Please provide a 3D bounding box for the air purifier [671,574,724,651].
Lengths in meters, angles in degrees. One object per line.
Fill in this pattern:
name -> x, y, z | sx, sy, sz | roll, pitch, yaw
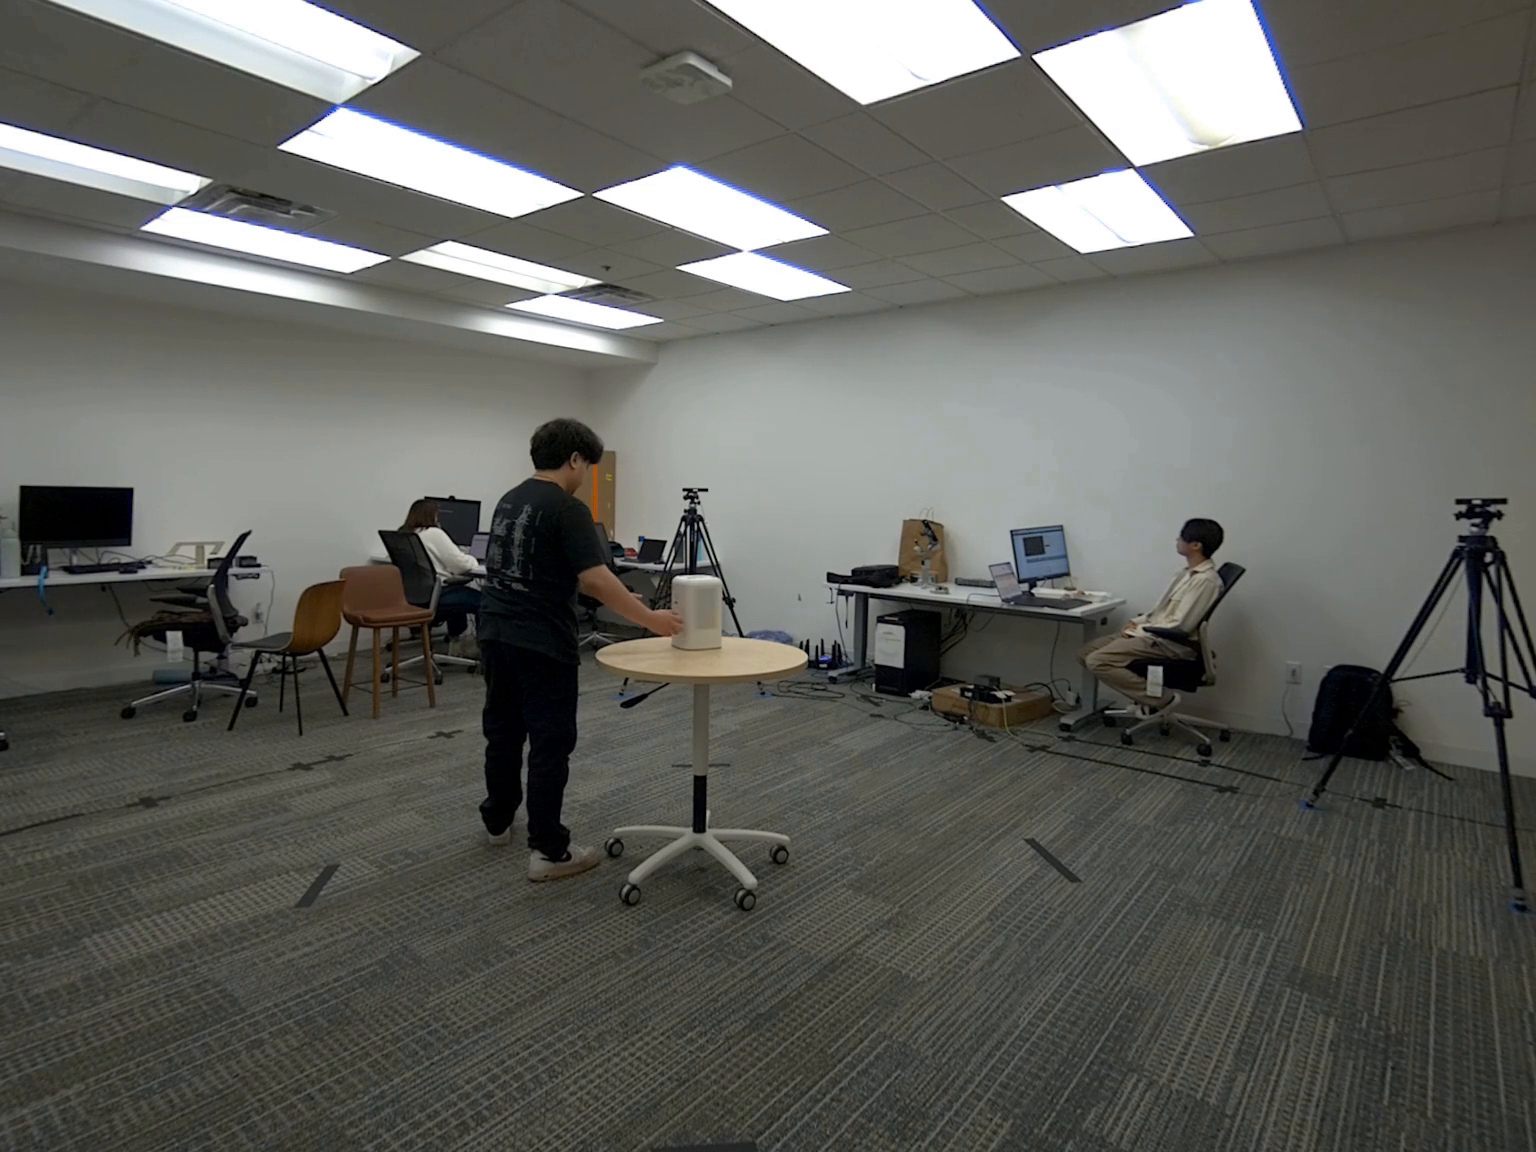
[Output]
air purifier -> -0.284, 0.134, 3.225 | 0.167, 0.265, 0.176 | 0, 4, -28
